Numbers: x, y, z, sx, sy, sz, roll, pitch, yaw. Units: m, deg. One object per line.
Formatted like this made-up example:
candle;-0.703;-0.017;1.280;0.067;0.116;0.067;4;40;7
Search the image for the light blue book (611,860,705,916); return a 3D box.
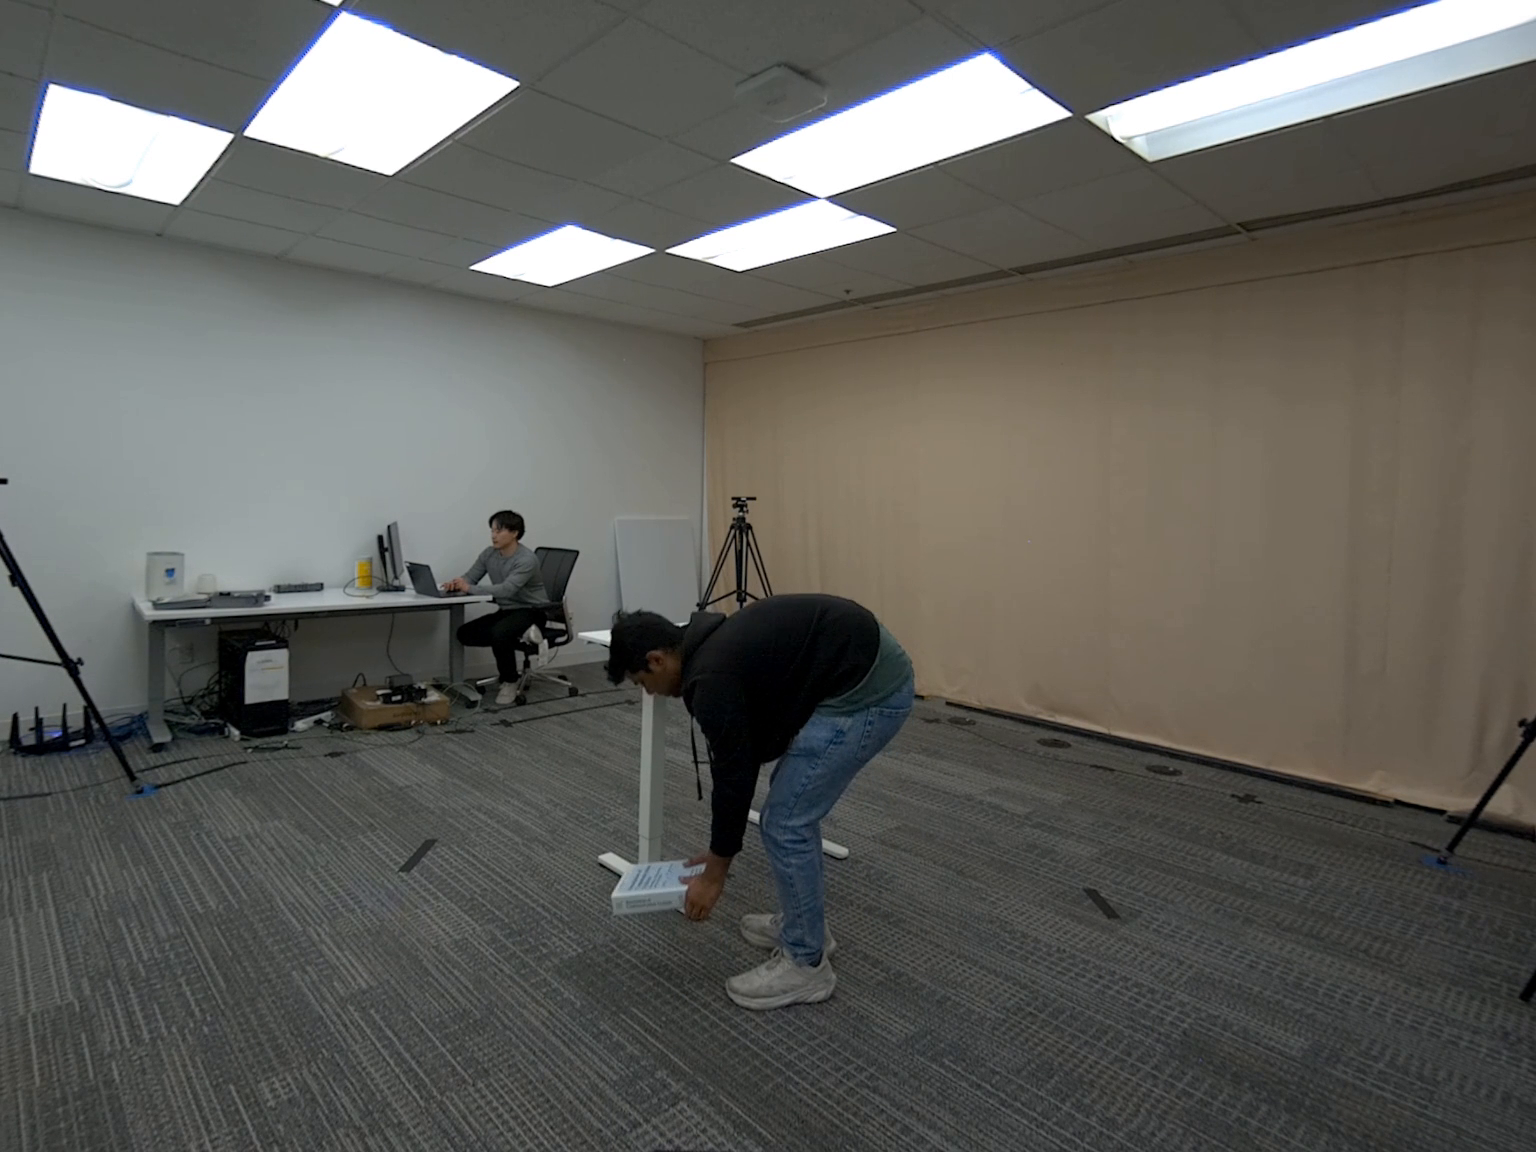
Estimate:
light blue book;-0.330;0.903;2.473;0.263;0.059;0.191;-8;6;10
